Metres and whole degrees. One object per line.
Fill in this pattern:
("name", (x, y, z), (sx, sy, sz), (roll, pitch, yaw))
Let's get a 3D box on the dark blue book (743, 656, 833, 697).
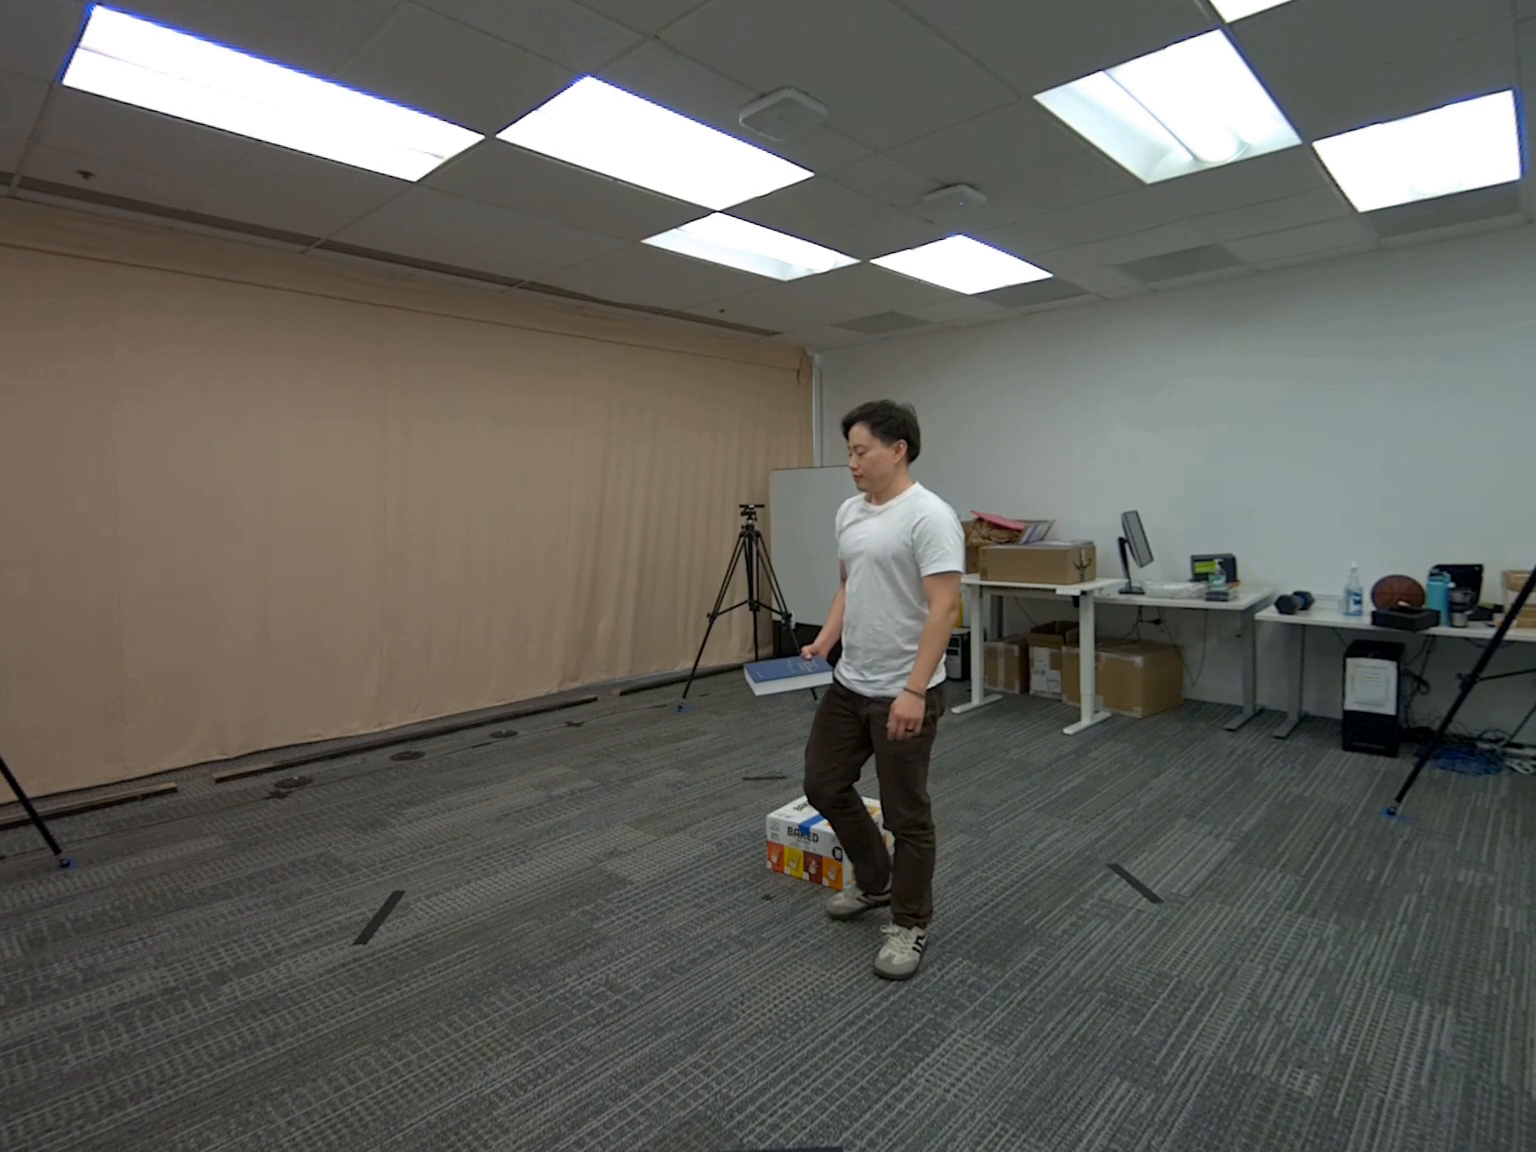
("dark blue book", (0.051, 0.299, 2.564), (0.244, 0.045, 0.166), (-6, 14, -6))
